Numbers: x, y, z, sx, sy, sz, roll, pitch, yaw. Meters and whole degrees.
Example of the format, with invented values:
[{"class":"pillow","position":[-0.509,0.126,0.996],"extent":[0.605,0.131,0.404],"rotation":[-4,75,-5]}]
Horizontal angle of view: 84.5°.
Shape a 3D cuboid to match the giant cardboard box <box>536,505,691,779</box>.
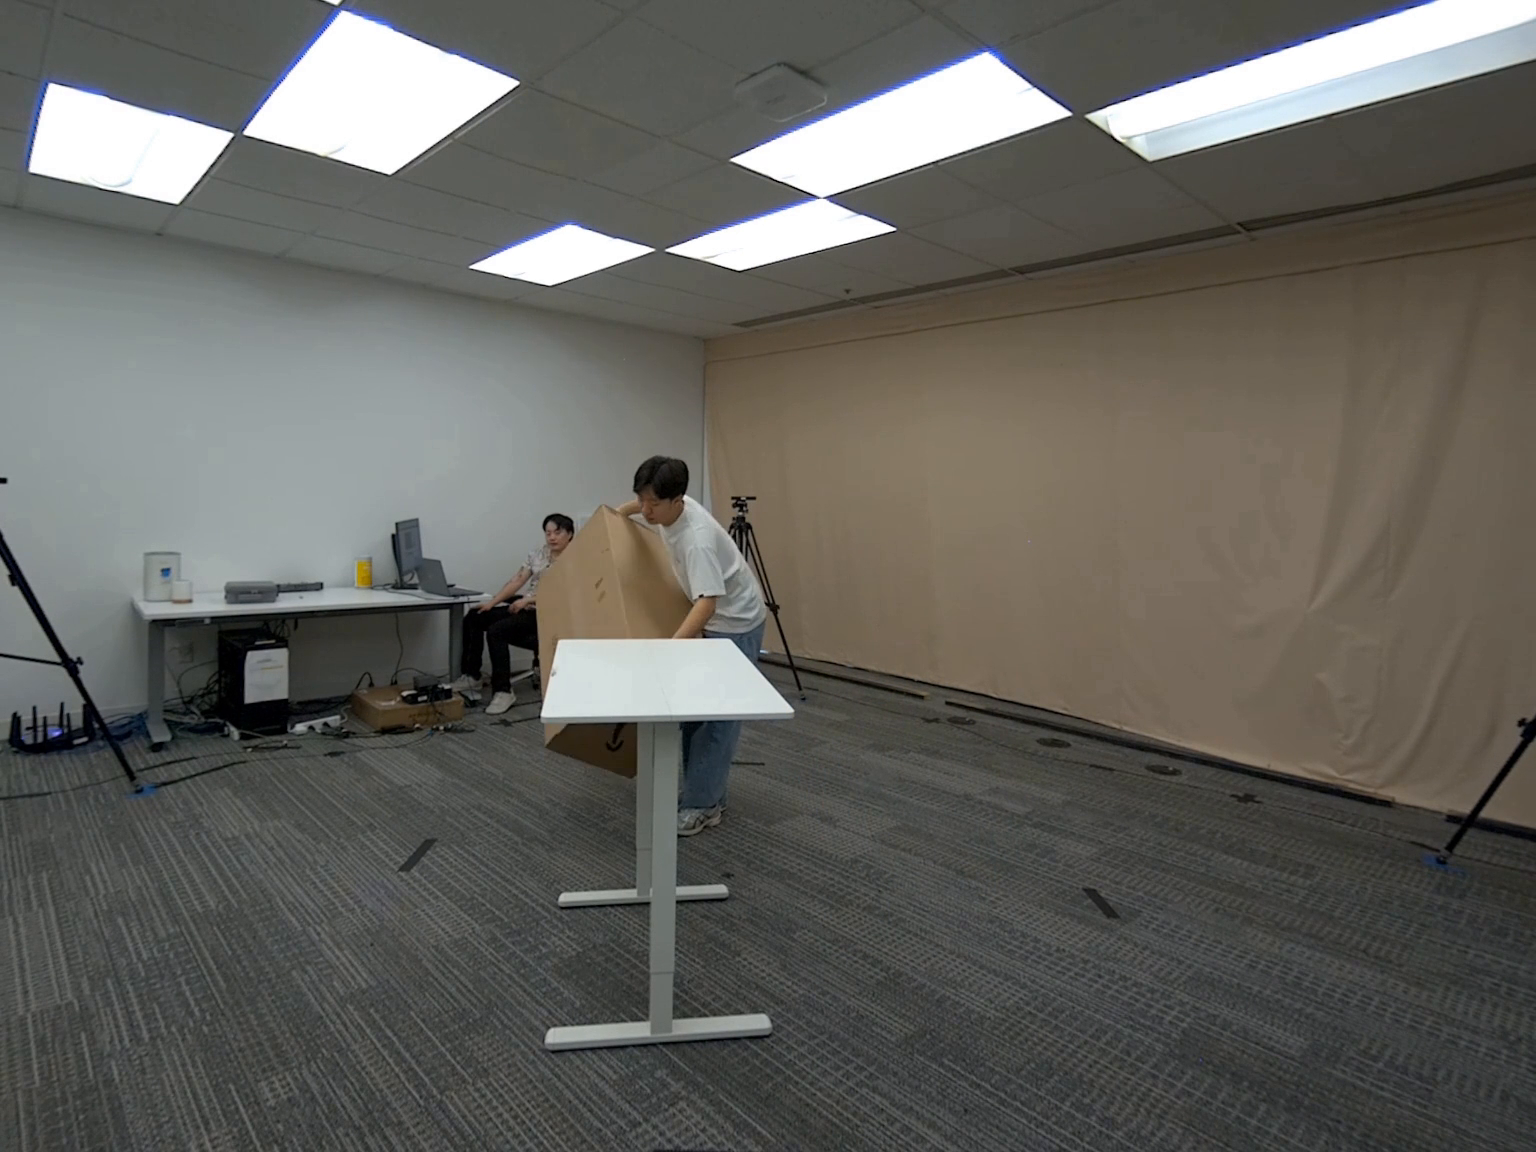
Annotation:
[{"class":"giant cardboard box","position":[-0.671,0.253,3.678],"extent":[0.414,0.577,1.056],"rotation":[29,24,-34]}]
